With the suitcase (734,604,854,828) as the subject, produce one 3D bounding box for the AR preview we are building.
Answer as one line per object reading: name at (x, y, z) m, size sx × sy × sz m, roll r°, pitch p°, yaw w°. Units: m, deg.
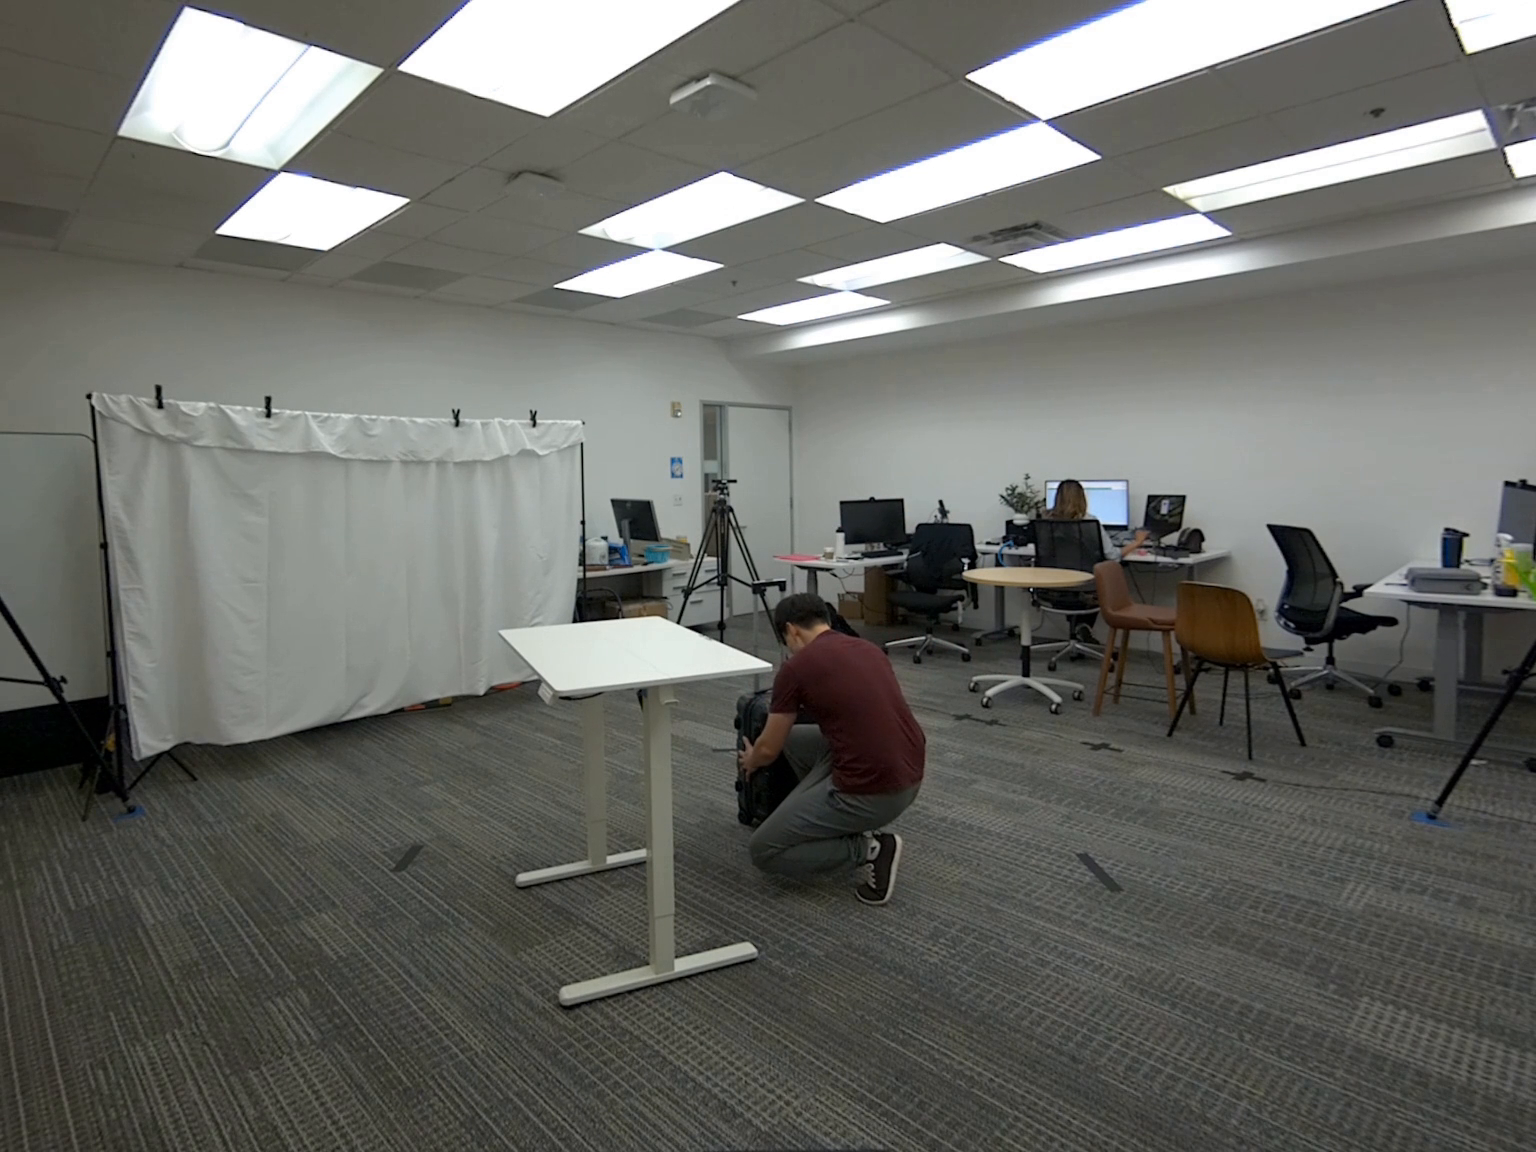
suitcase at (0.068, 0.526, 3.453) m, size 0.376 × 0.975 × 0.263 m, roll -3°, pitch 4°, yaw -25°
